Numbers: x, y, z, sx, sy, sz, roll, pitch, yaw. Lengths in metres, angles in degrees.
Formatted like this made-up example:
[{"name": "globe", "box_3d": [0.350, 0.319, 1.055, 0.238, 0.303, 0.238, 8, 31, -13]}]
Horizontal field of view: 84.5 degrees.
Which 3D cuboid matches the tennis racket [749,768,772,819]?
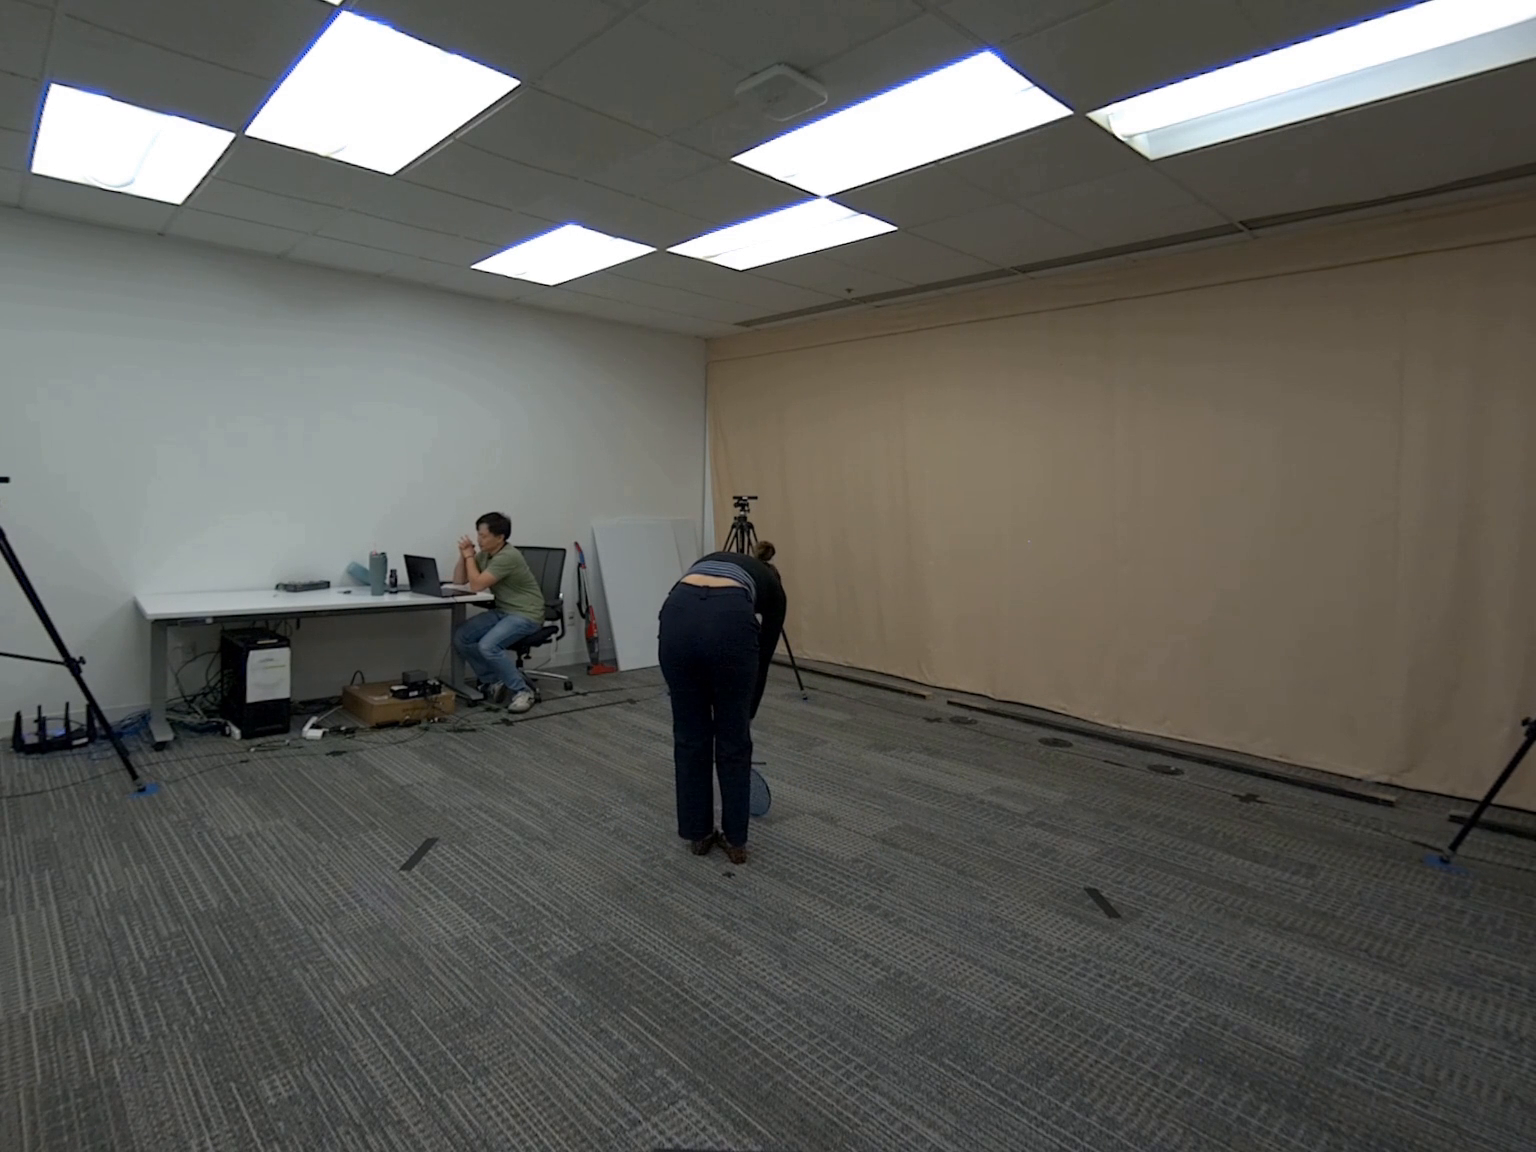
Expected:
[{"name": "tennis racket", "box_3d": [-0.114, 0.856, 3.630, 0.217, 0.427, 0.032, -9, 17, 27]}]
